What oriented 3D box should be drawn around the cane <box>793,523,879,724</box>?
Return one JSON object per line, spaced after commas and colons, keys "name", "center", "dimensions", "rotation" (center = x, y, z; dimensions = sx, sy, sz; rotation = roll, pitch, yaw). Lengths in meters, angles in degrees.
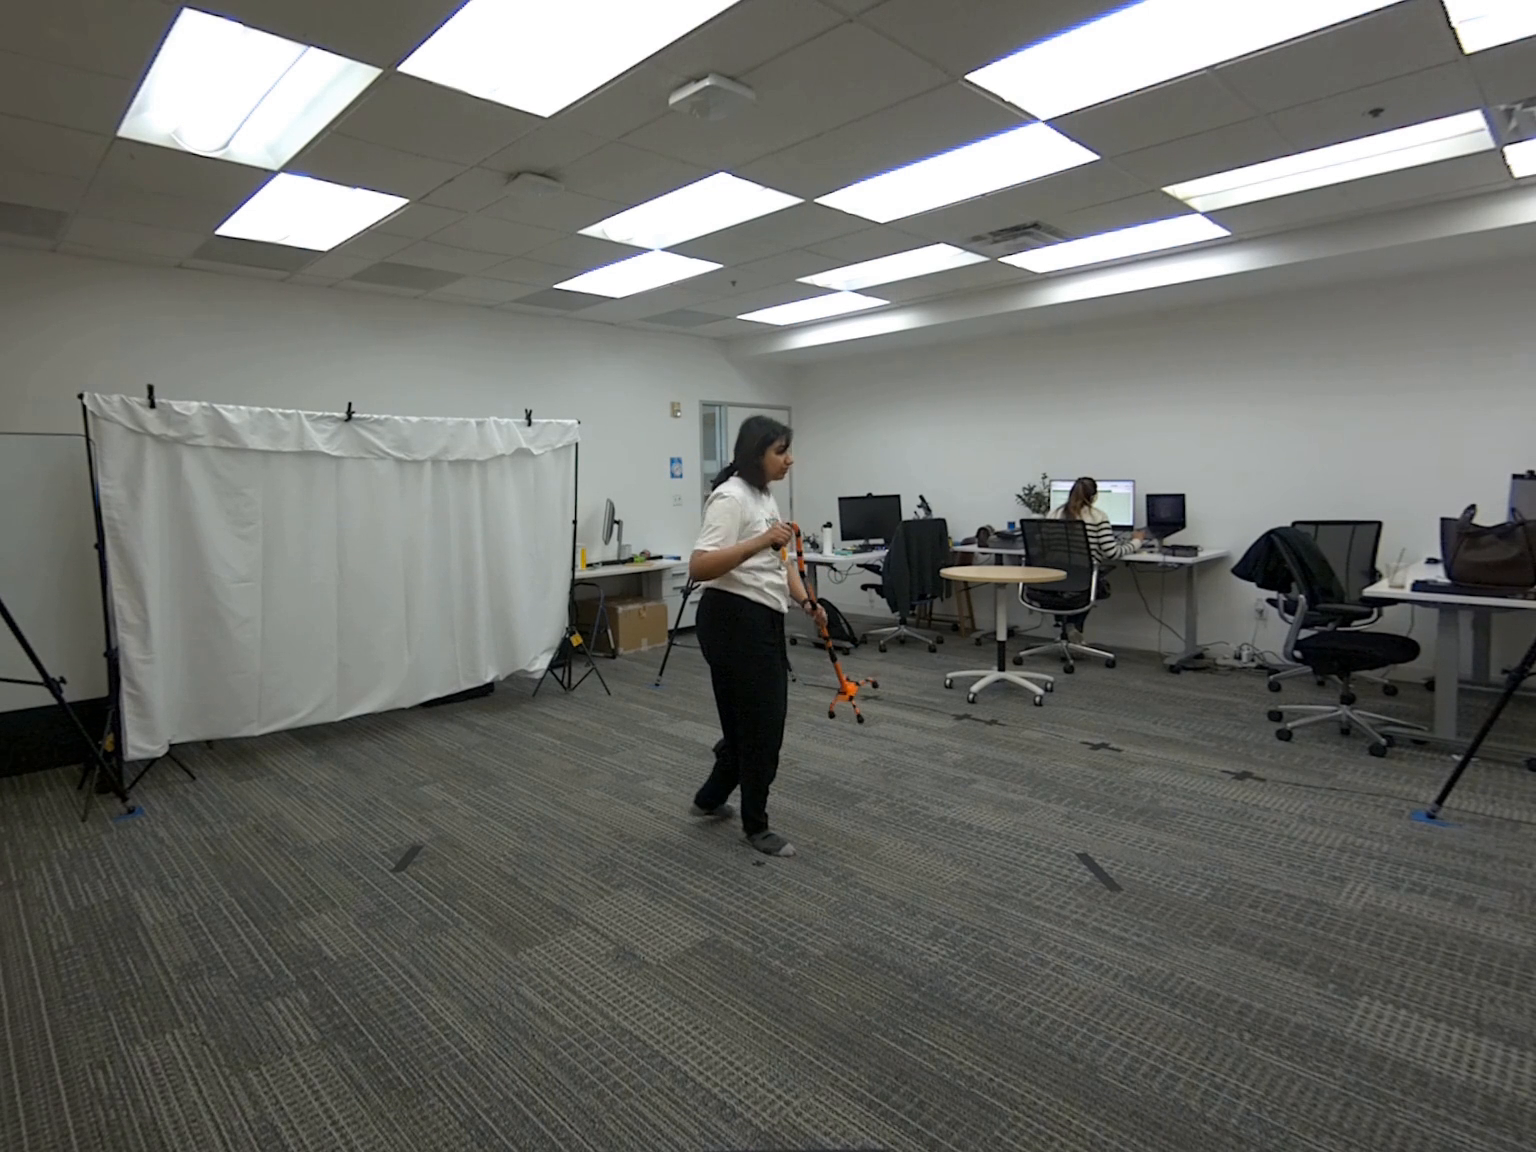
{"name": "cane", "center": [0.181, 0.150, 3.141], "dimensions": [0.156, 0.878, 0.207], "rotation": [7, 44, 34]}
